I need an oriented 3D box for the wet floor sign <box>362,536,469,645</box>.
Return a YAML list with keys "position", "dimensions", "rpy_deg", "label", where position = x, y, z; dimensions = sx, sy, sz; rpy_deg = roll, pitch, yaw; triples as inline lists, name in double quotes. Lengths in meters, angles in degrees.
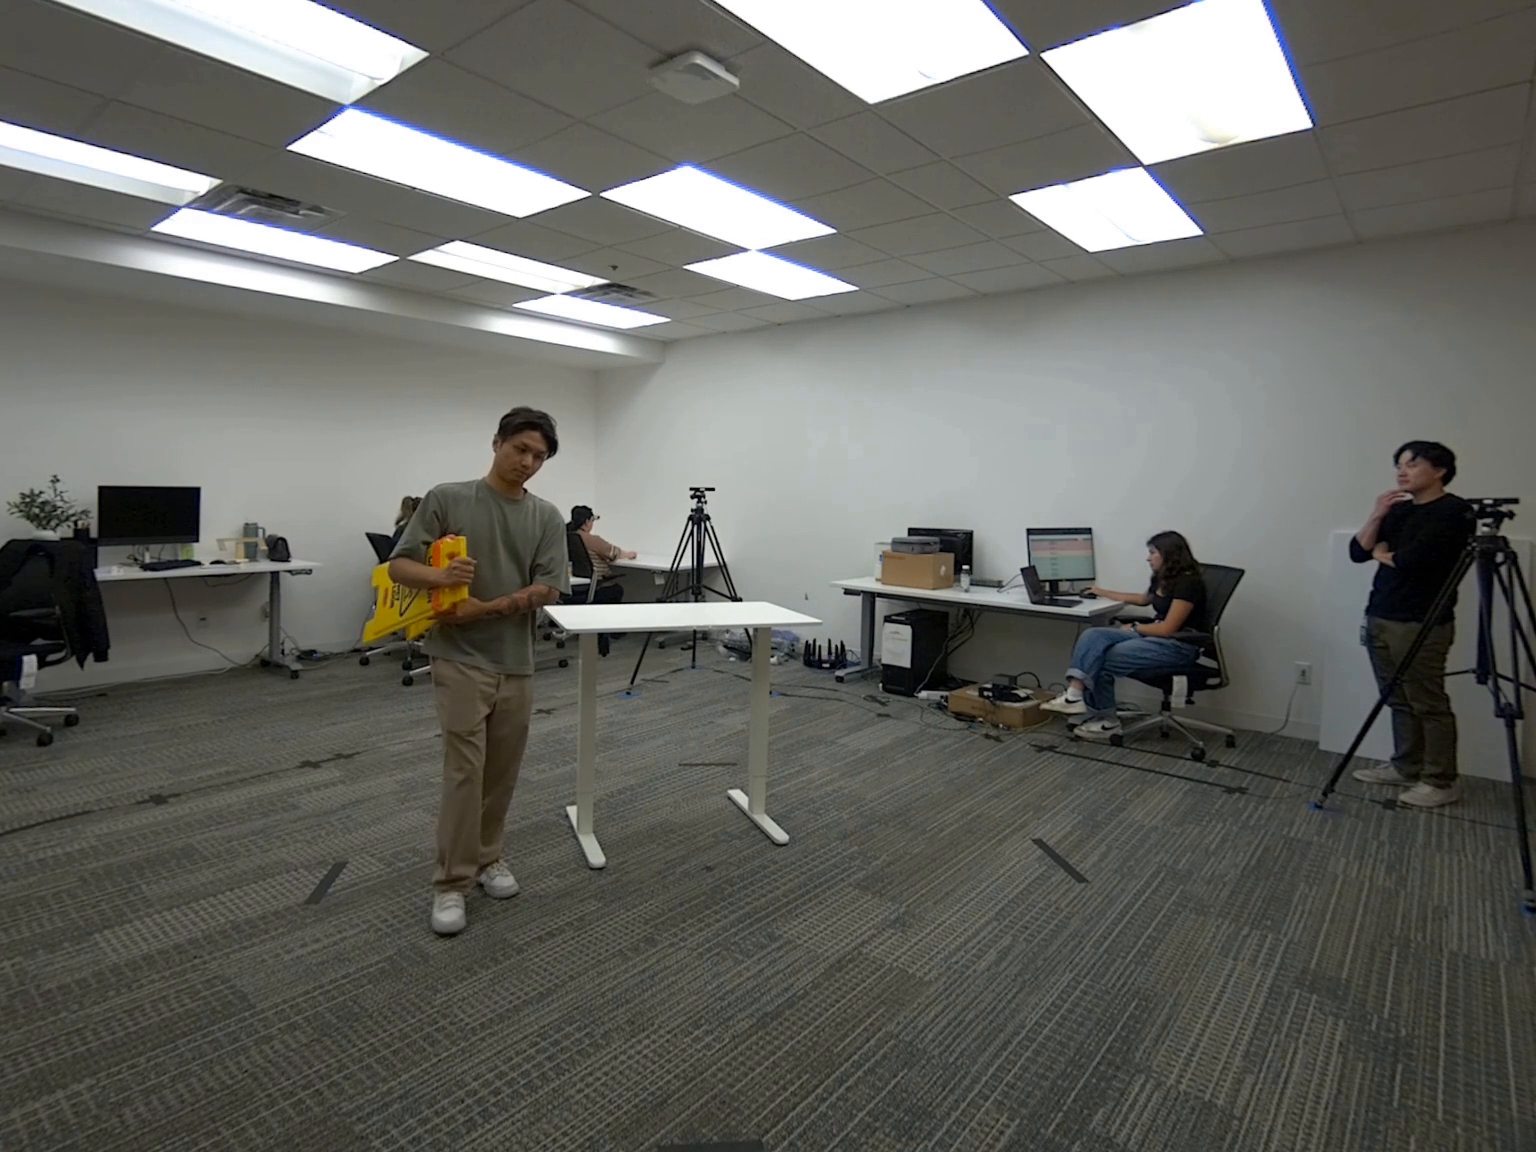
- position: [-1.154, 0.049, 2.817]
  dimensions: [0.280, 0.285, 0.659]
  rpy_deg: [2, -12, -40]
  label: "wet floor sign"
